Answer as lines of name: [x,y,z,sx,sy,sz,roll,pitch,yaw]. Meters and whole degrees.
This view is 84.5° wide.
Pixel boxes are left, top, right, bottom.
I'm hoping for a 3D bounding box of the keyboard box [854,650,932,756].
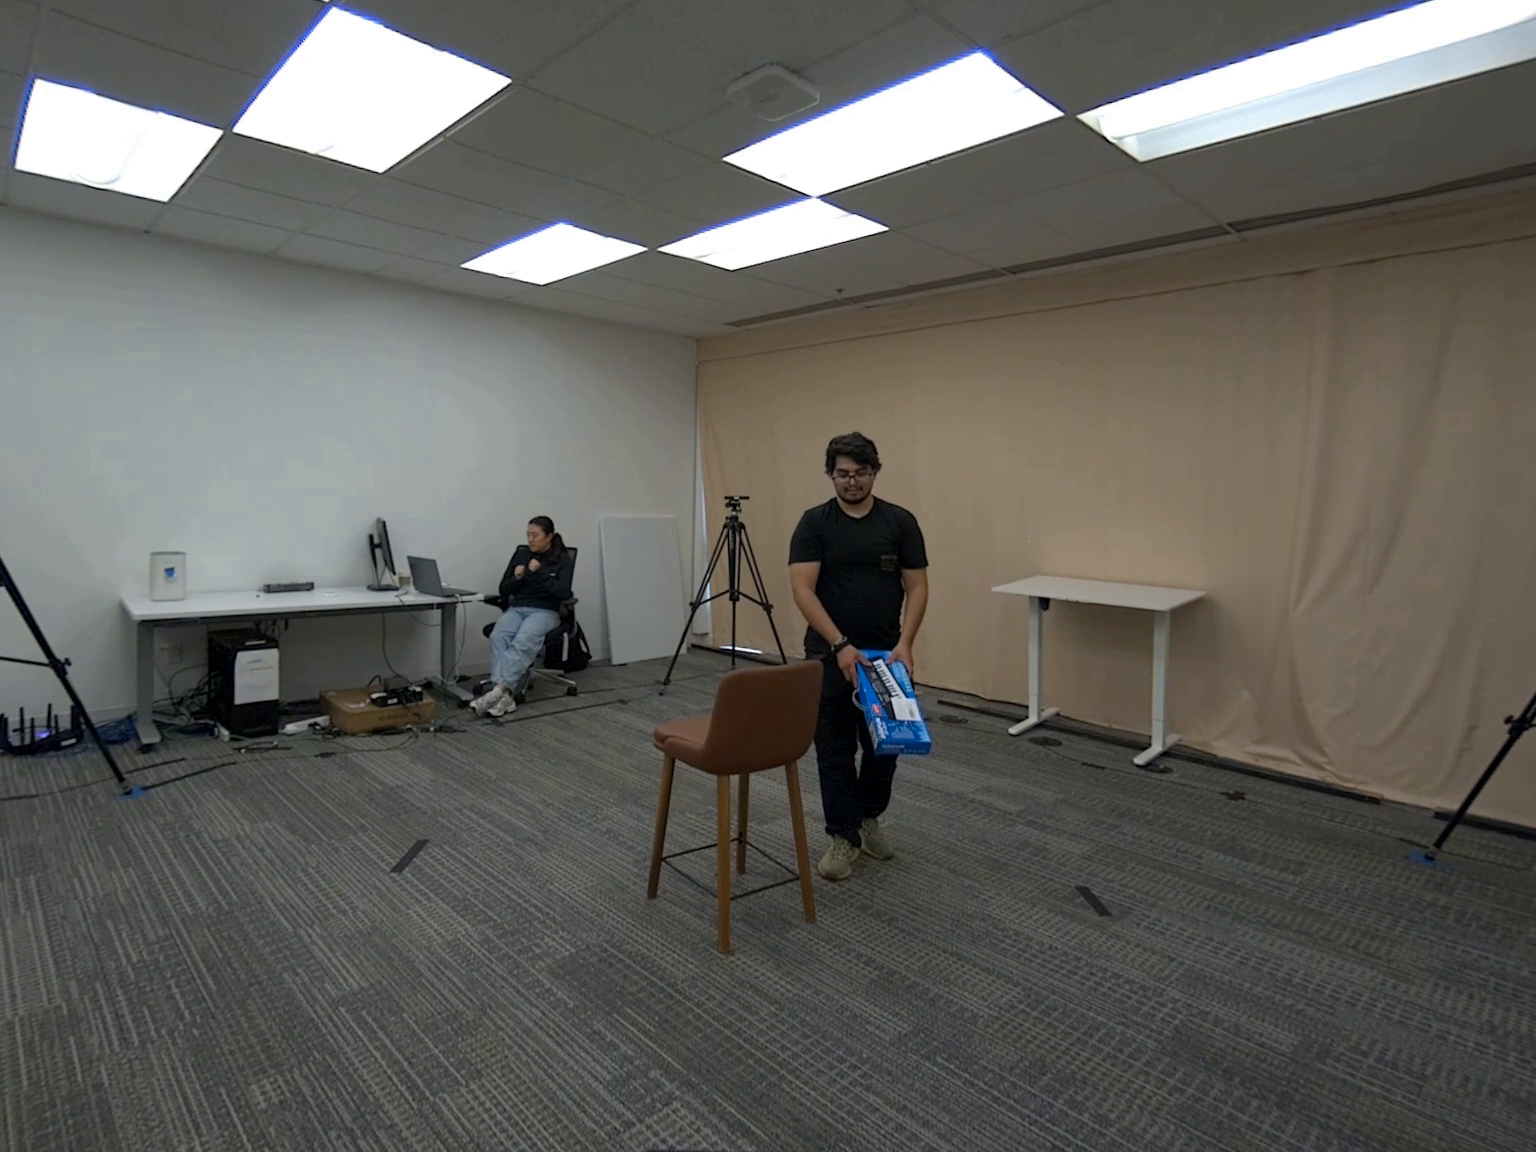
keyboard box: [0.391,0.411,2.805,0.175,0.058,0.447,3,34,-7]
